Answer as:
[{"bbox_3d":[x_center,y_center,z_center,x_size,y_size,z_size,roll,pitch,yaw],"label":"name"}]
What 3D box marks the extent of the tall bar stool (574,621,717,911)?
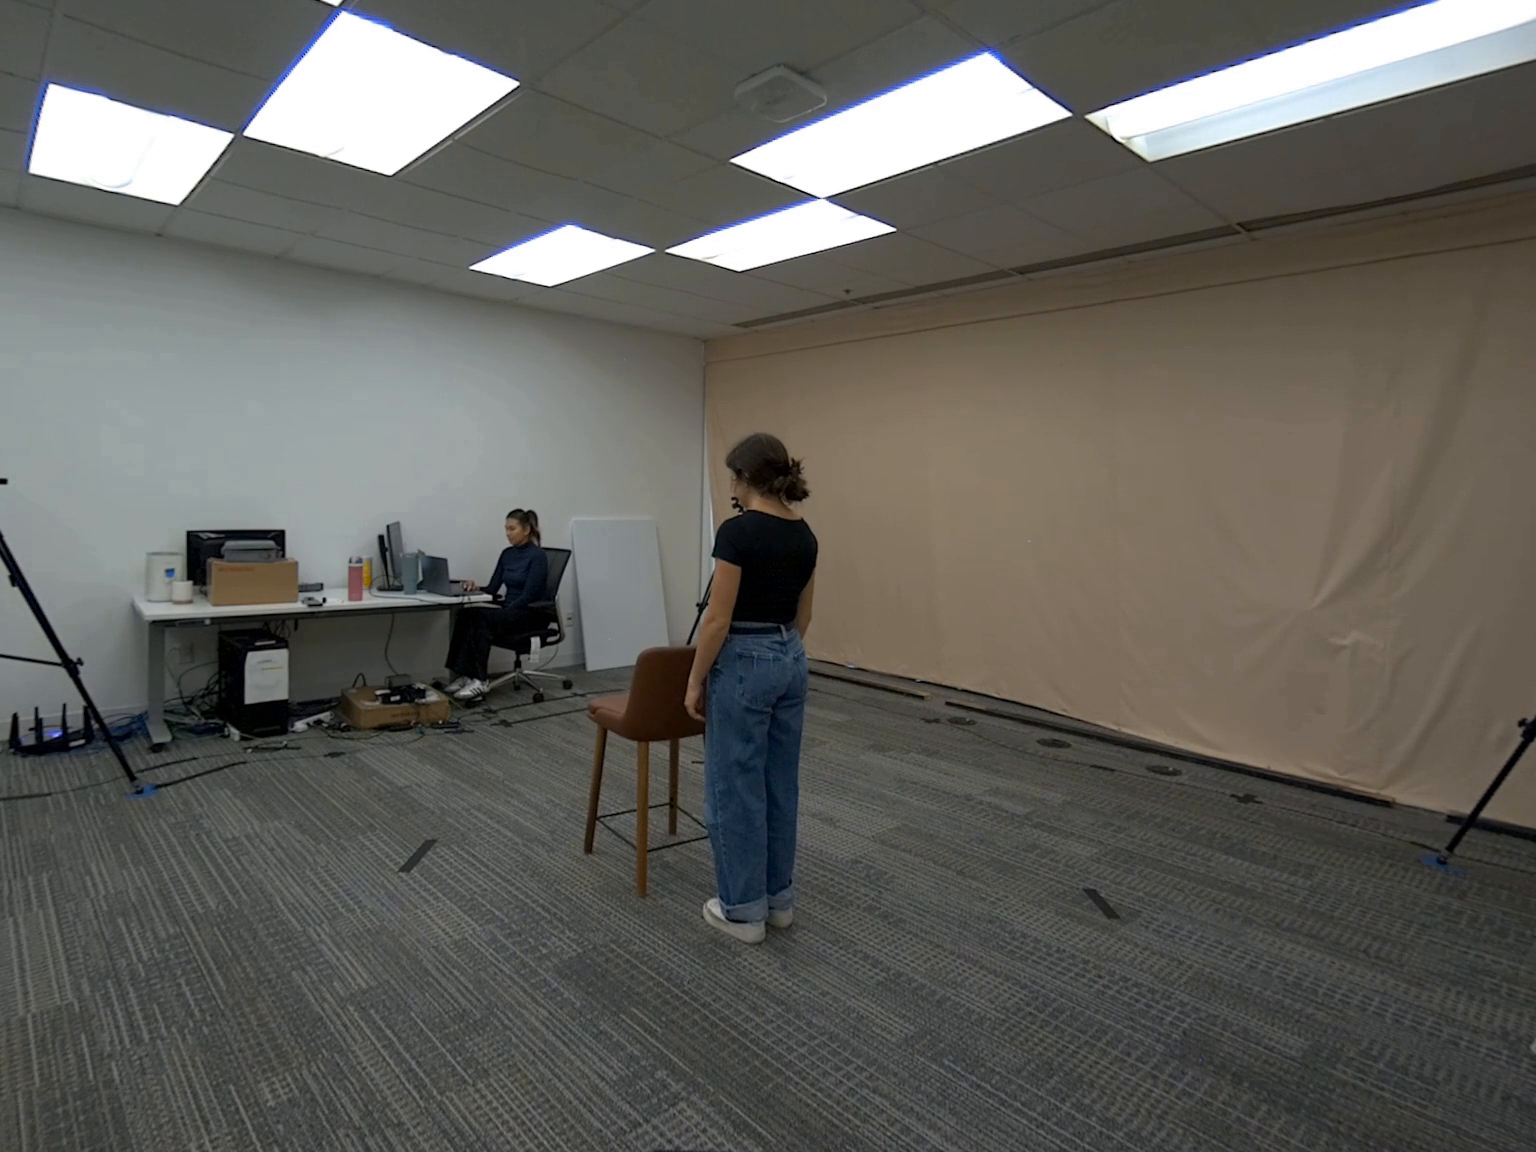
[{"bbox_3d":[-0.414,0.661,3.174,0.447,0.887,0.479,-1,6,-35],"label":"tall bar stool"}]
